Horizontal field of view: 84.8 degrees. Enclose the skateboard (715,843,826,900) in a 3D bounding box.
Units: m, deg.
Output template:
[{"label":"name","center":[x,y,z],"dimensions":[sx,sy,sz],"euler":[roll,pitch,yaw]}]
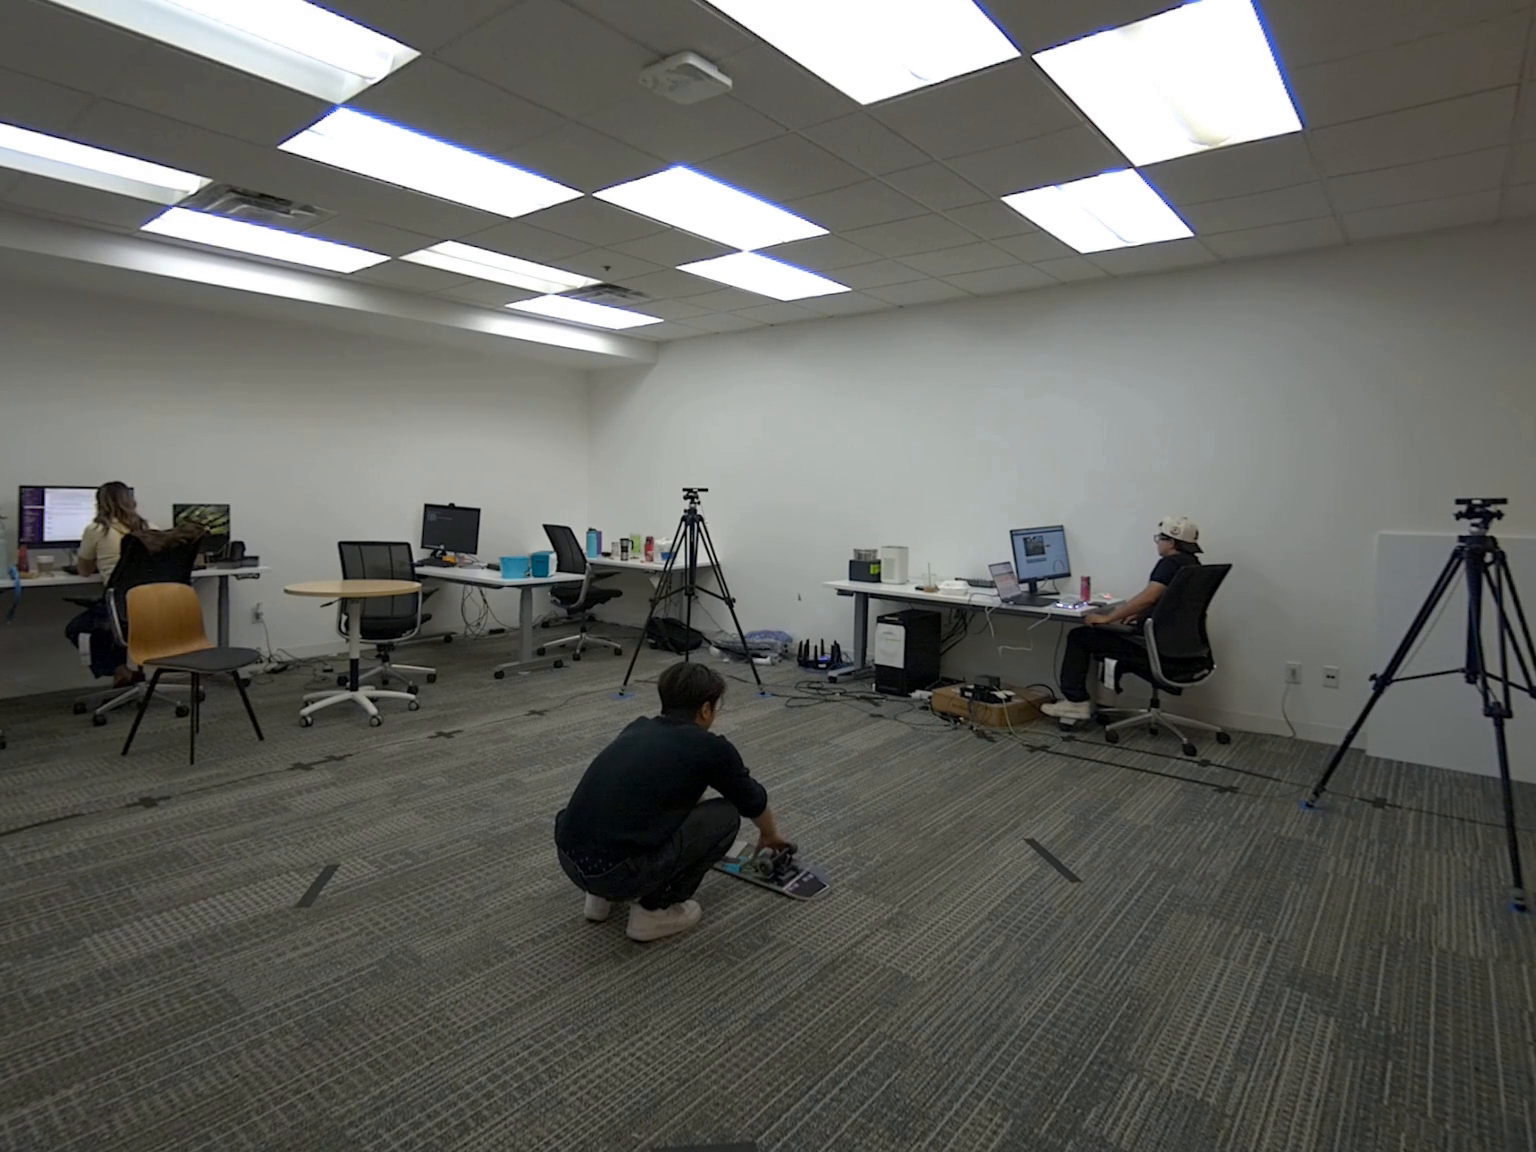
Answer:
[{"label":"skateboard","center":[-0.131,1.013,3.162],"dimensions":[0.812,0.109,0.189],"euler":[5,13,38]}]
